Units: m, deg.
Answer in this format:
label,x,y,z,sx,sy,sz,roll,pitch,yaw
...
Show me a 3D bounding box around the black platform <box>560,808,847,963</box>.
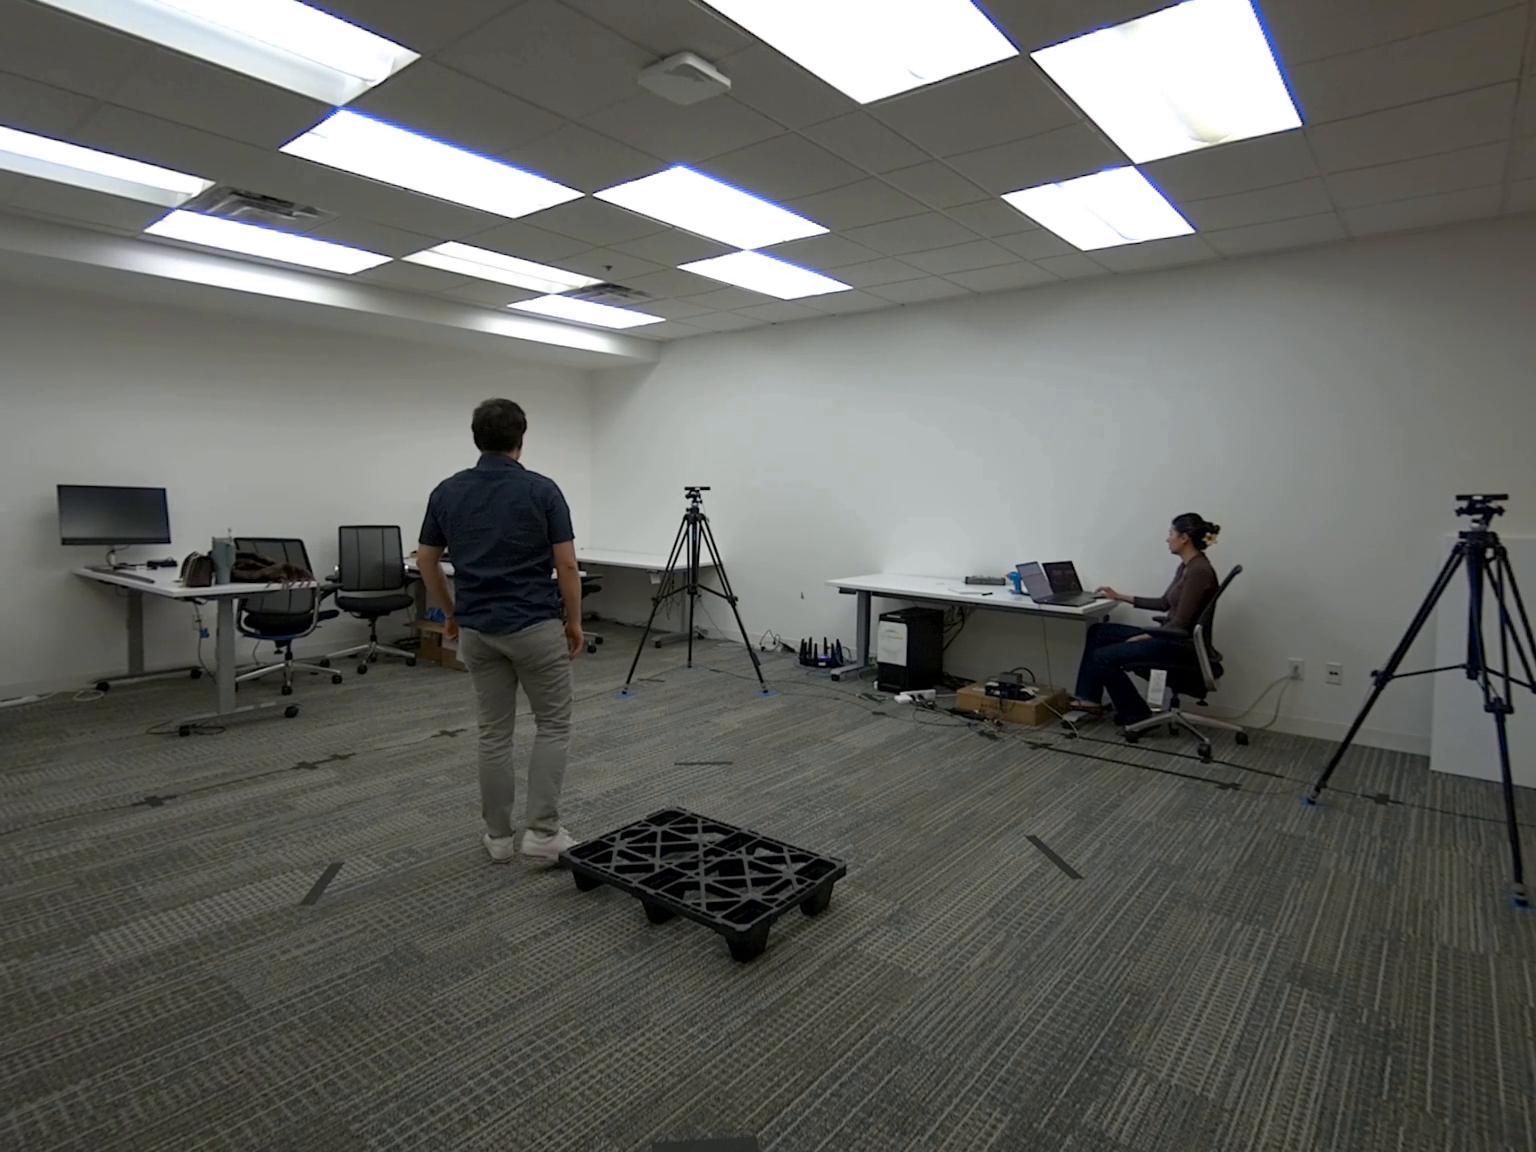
label,x,y,z,sx,sy,sz,roll,pitch,yaw
black platform,-0.233,1.021,2.881,0.832,0.143,0.588,5,7,37
